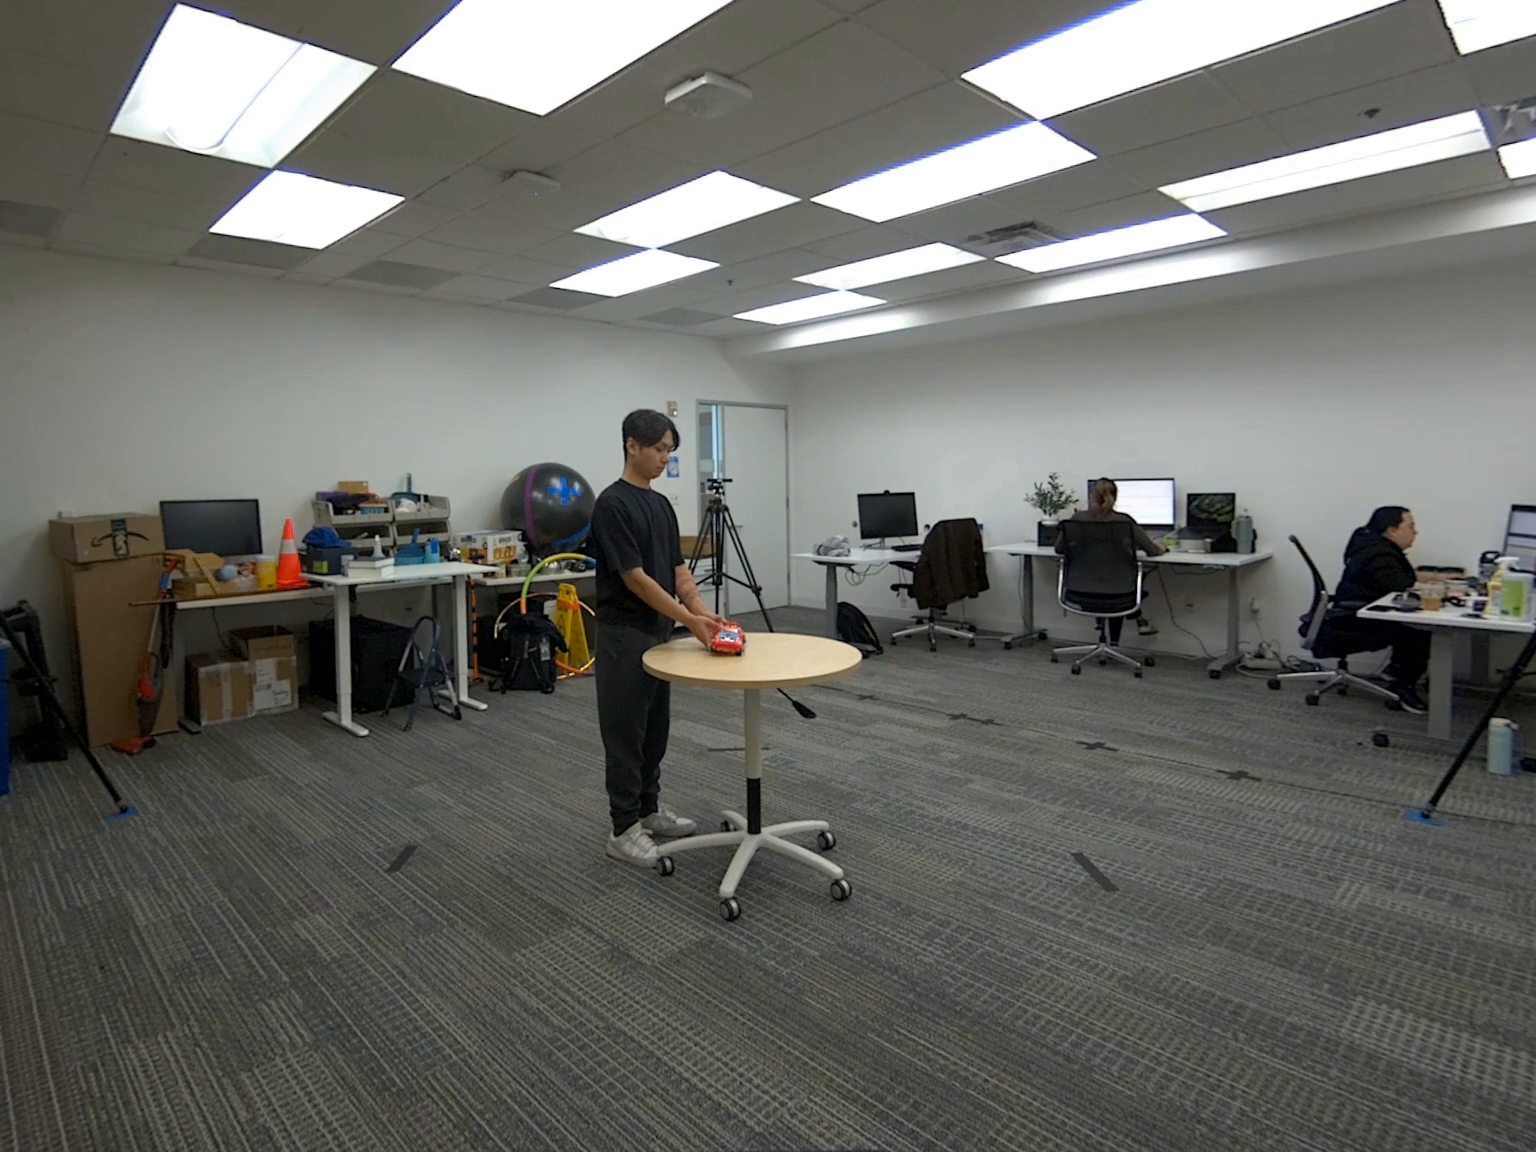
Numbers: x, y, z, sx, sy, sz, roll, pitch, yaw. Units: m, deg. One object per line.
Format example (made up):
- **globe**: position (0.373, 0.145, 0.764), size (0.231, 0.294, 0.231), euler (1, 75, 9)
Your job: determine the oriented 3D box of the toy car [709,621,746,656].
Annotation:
- **toy car**: position (-0.141, 0.228, 3.072), size (0.131, 0.082, 0.256), euler (3, 15, 3)
